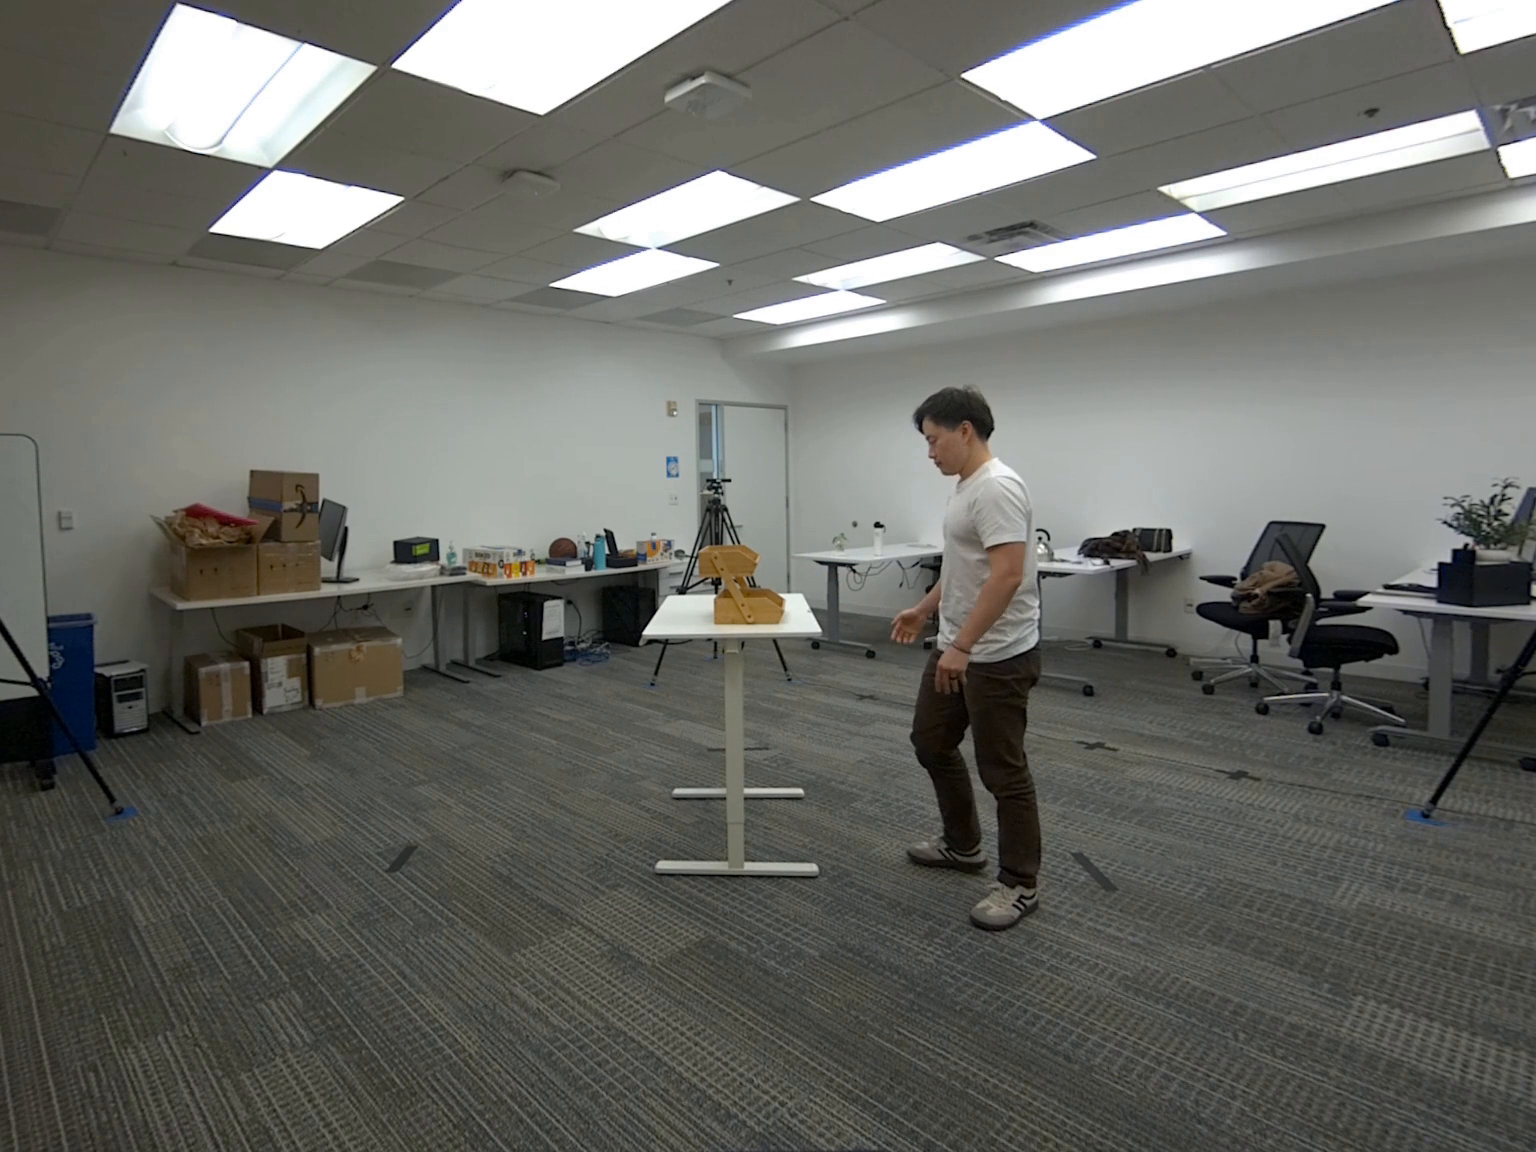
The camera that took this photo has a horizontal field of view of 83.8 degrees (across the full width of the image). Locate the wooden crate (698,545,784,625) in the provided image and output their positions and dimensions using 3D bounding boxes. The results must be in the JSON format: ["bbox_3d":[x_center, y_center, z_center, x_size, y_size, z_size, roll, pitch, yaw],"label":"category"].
[{"bbox_3d":[-0.076,0.027,3.176,0.303,0.272,0.325,0,4,1],"label":"wooden crate"}]
